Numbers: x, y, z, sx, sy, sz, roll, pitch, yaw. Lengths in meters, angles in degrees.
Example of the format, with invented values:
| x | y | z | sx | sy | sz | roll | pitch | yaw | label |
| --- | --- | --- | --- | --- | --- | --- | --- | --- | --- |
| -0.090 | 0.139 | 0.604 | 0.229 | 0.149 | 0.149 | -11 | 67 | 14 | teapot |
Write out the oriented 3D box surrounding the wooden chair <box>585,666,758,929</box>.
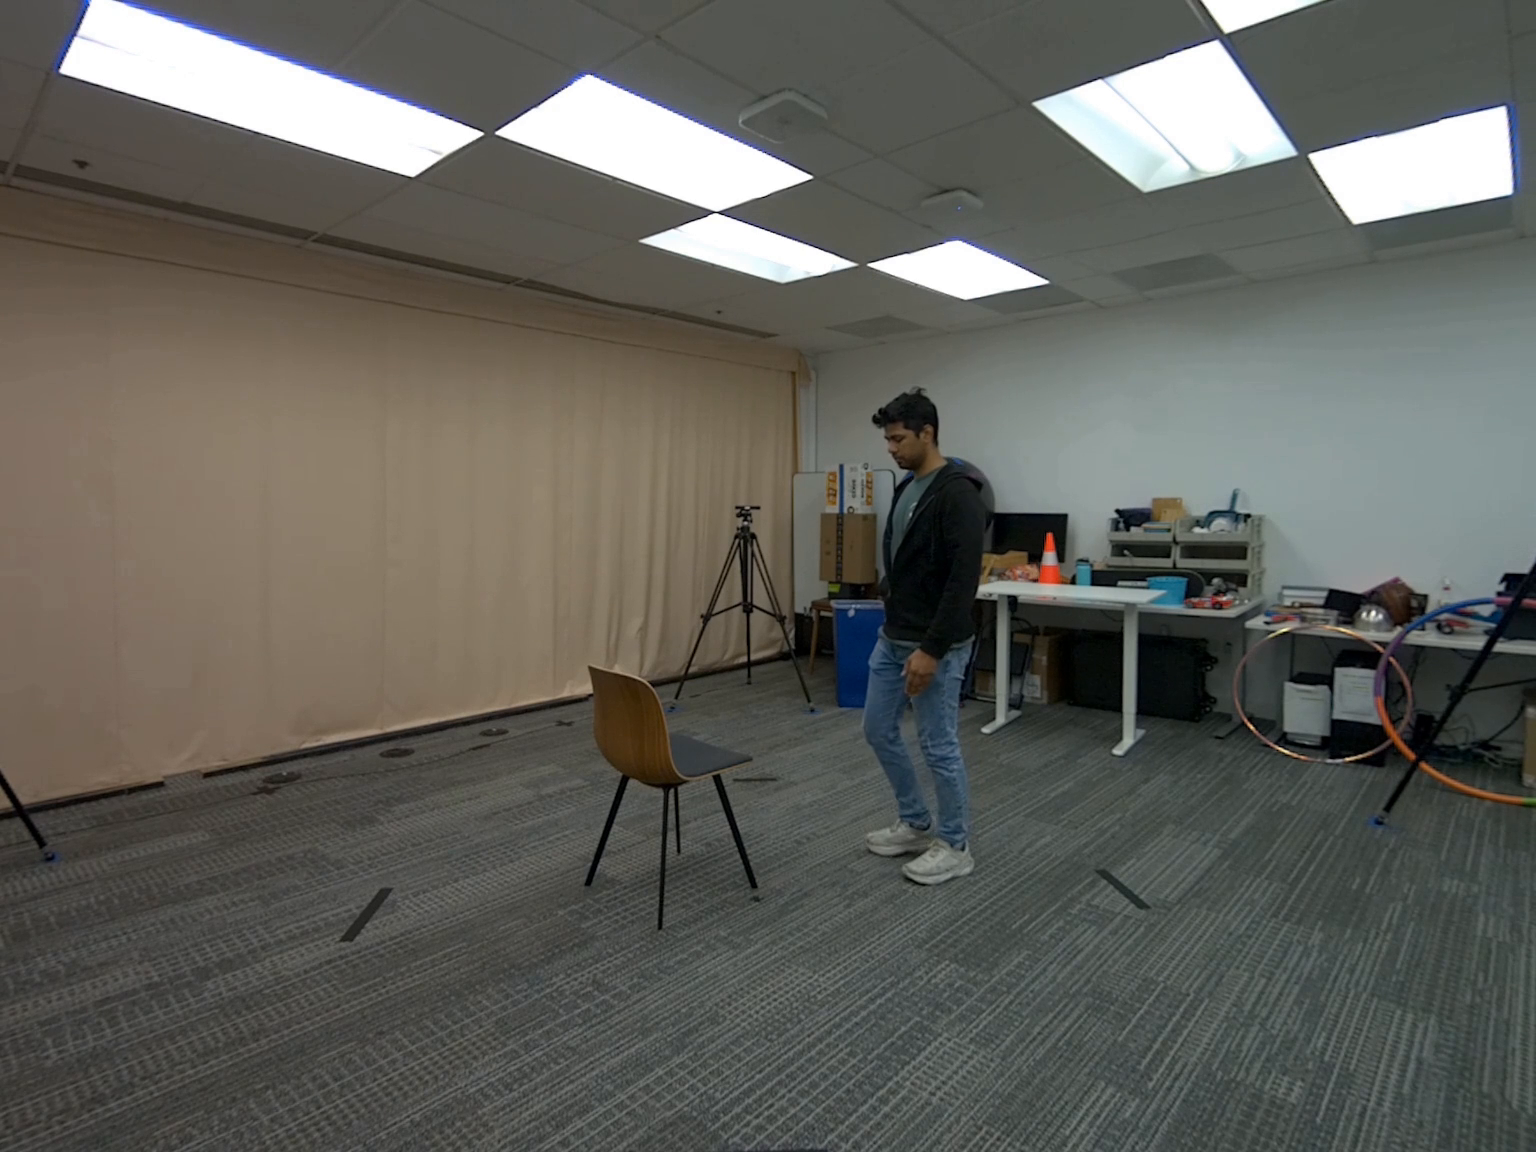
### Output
| x | y | z | sx | sy | sz | roll | pitch | yaw | label |
| --- | --- | --- | --- | --- | --- | --- | --- | --- | --- |
| -0.350 | 0.716 | 3.055 | 0.508 | 0.874 | 0.494 | -9 | 8 | -43 | wooden chair |
